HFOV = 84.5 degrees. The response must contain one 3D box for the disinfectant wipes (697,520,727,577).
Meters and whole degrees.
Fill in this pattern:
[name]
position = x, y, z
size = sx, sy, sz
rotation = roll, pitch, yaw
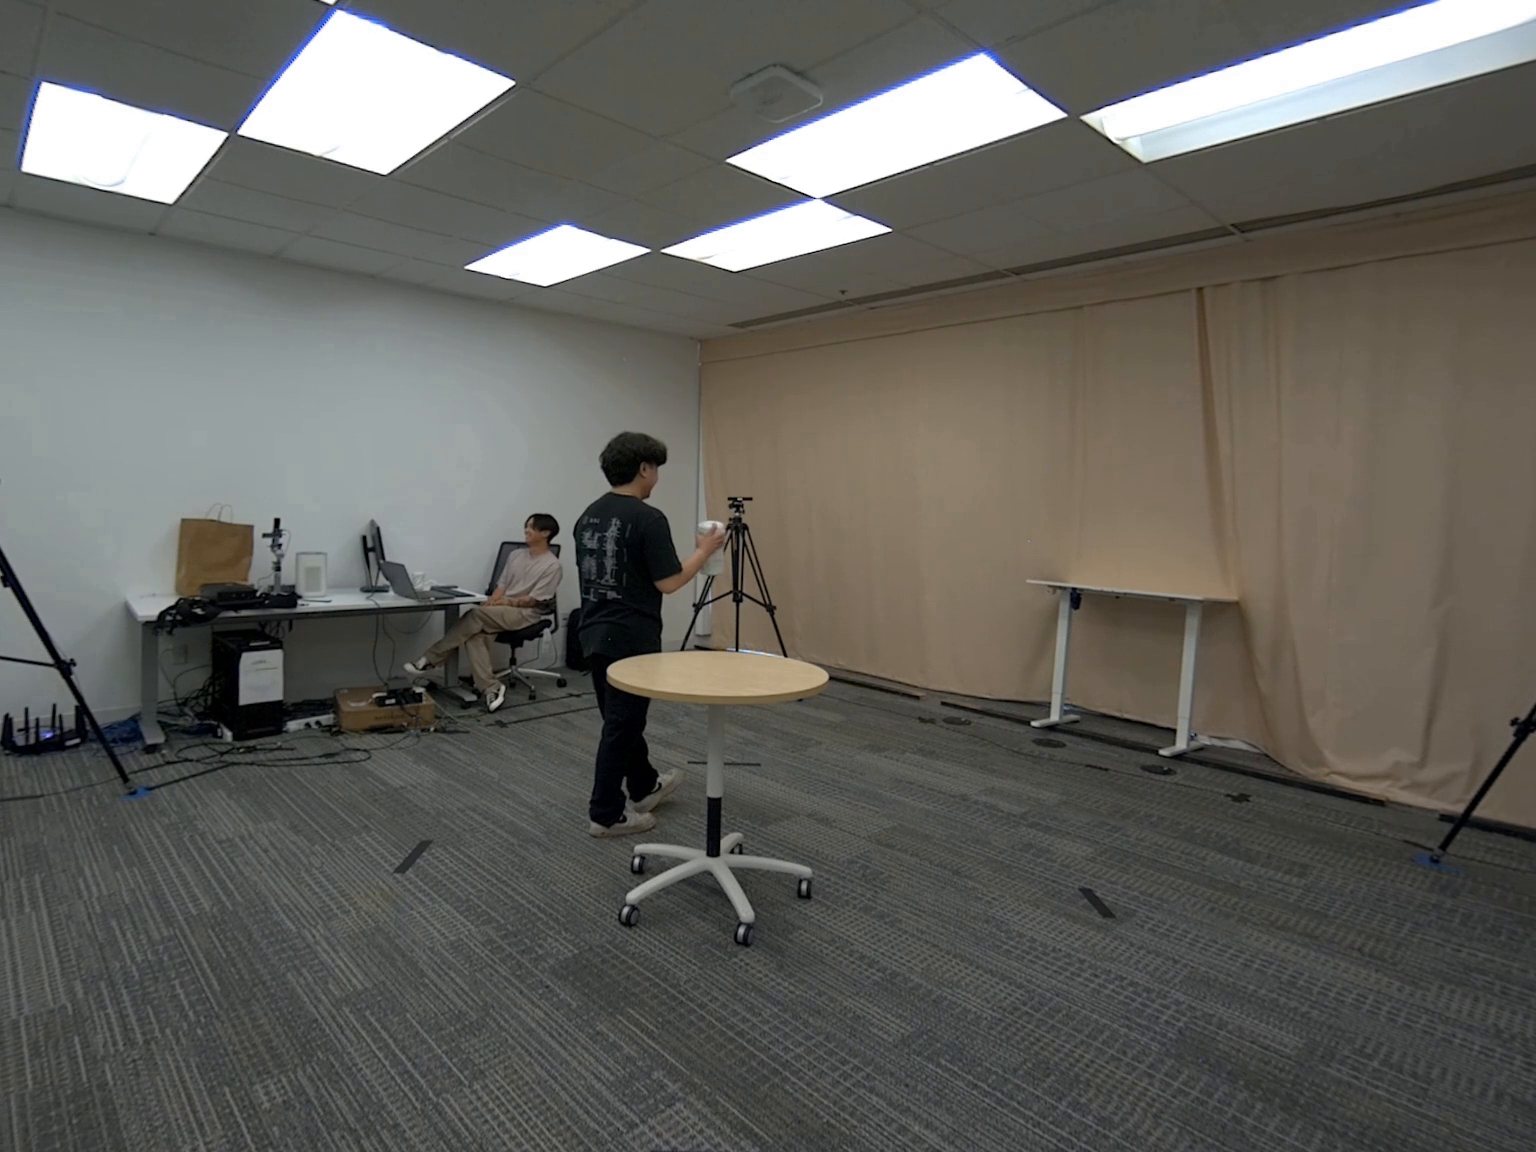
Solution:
[disinfectant wipes]
position = -0.240, -0.119, 3.596
size = 0.118, 0.215, 0.119
rotation = 0, 12, -1
